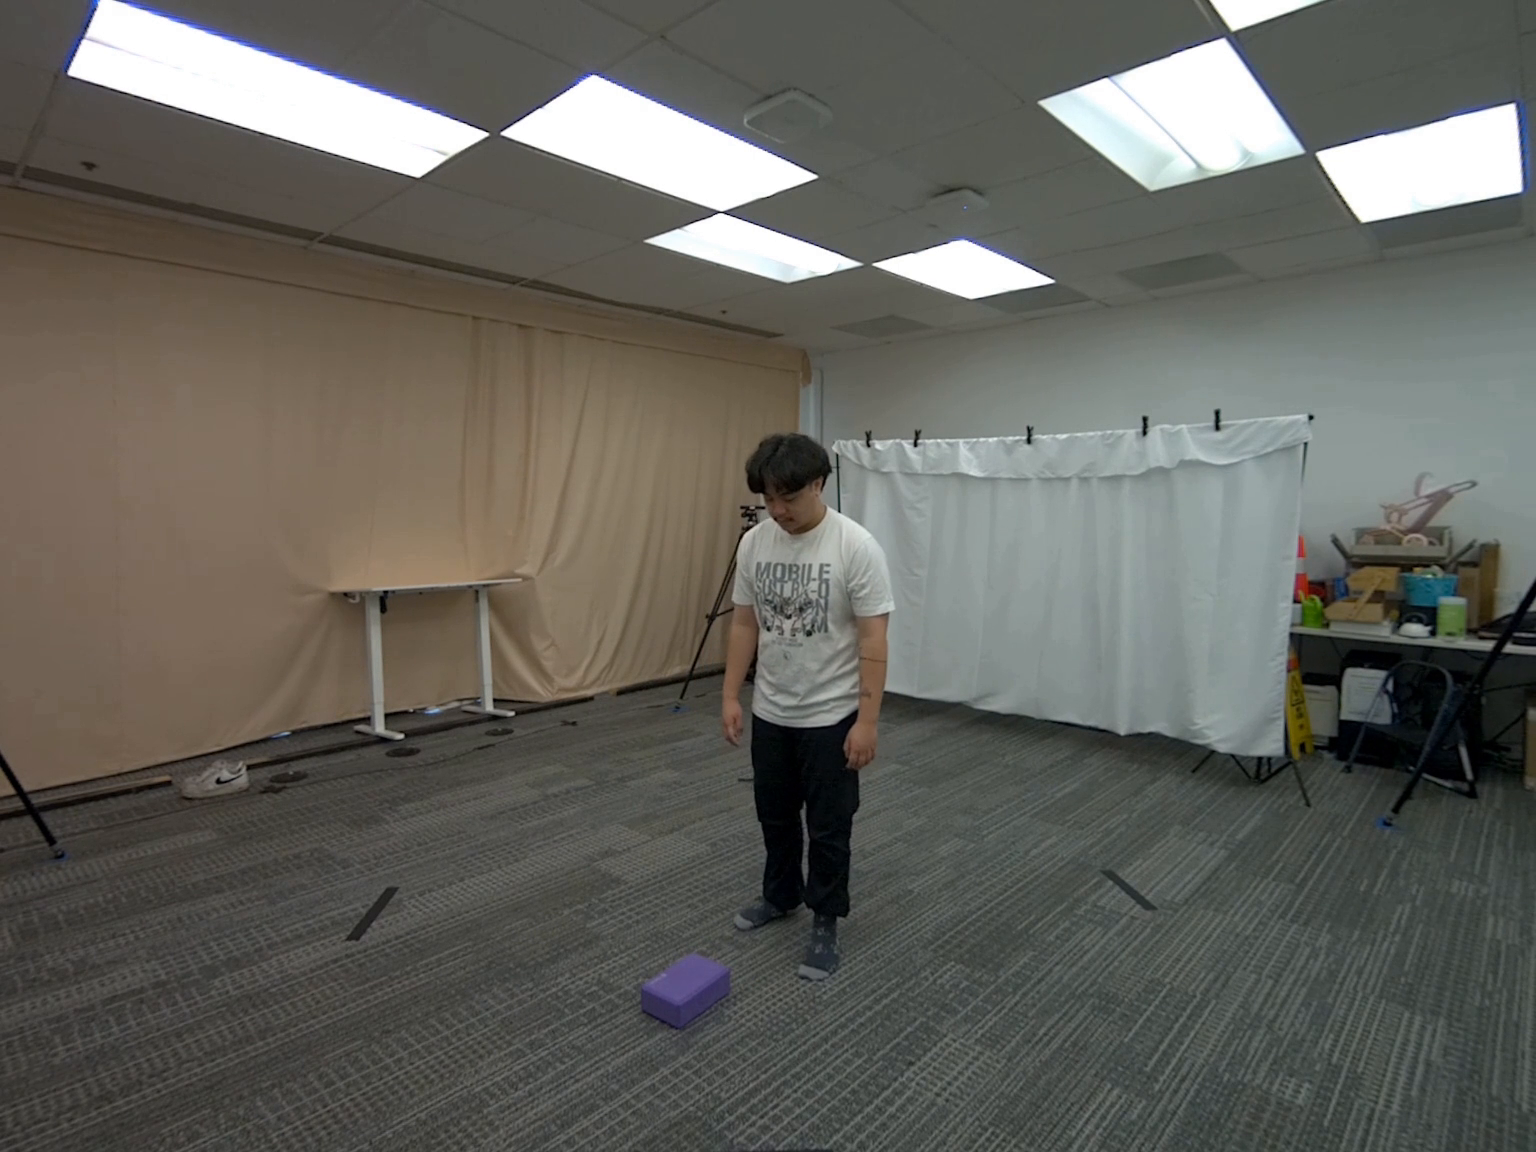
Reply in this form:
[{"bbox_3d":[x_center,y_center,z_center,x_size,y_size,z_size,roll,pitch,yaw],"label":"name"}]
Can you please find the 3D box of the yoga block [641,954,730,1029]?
[{"bbox_3d":[-0.227,1.161,2.359,0.154,0.076,0.223,4,7,35],"label":"yoga block"}]
